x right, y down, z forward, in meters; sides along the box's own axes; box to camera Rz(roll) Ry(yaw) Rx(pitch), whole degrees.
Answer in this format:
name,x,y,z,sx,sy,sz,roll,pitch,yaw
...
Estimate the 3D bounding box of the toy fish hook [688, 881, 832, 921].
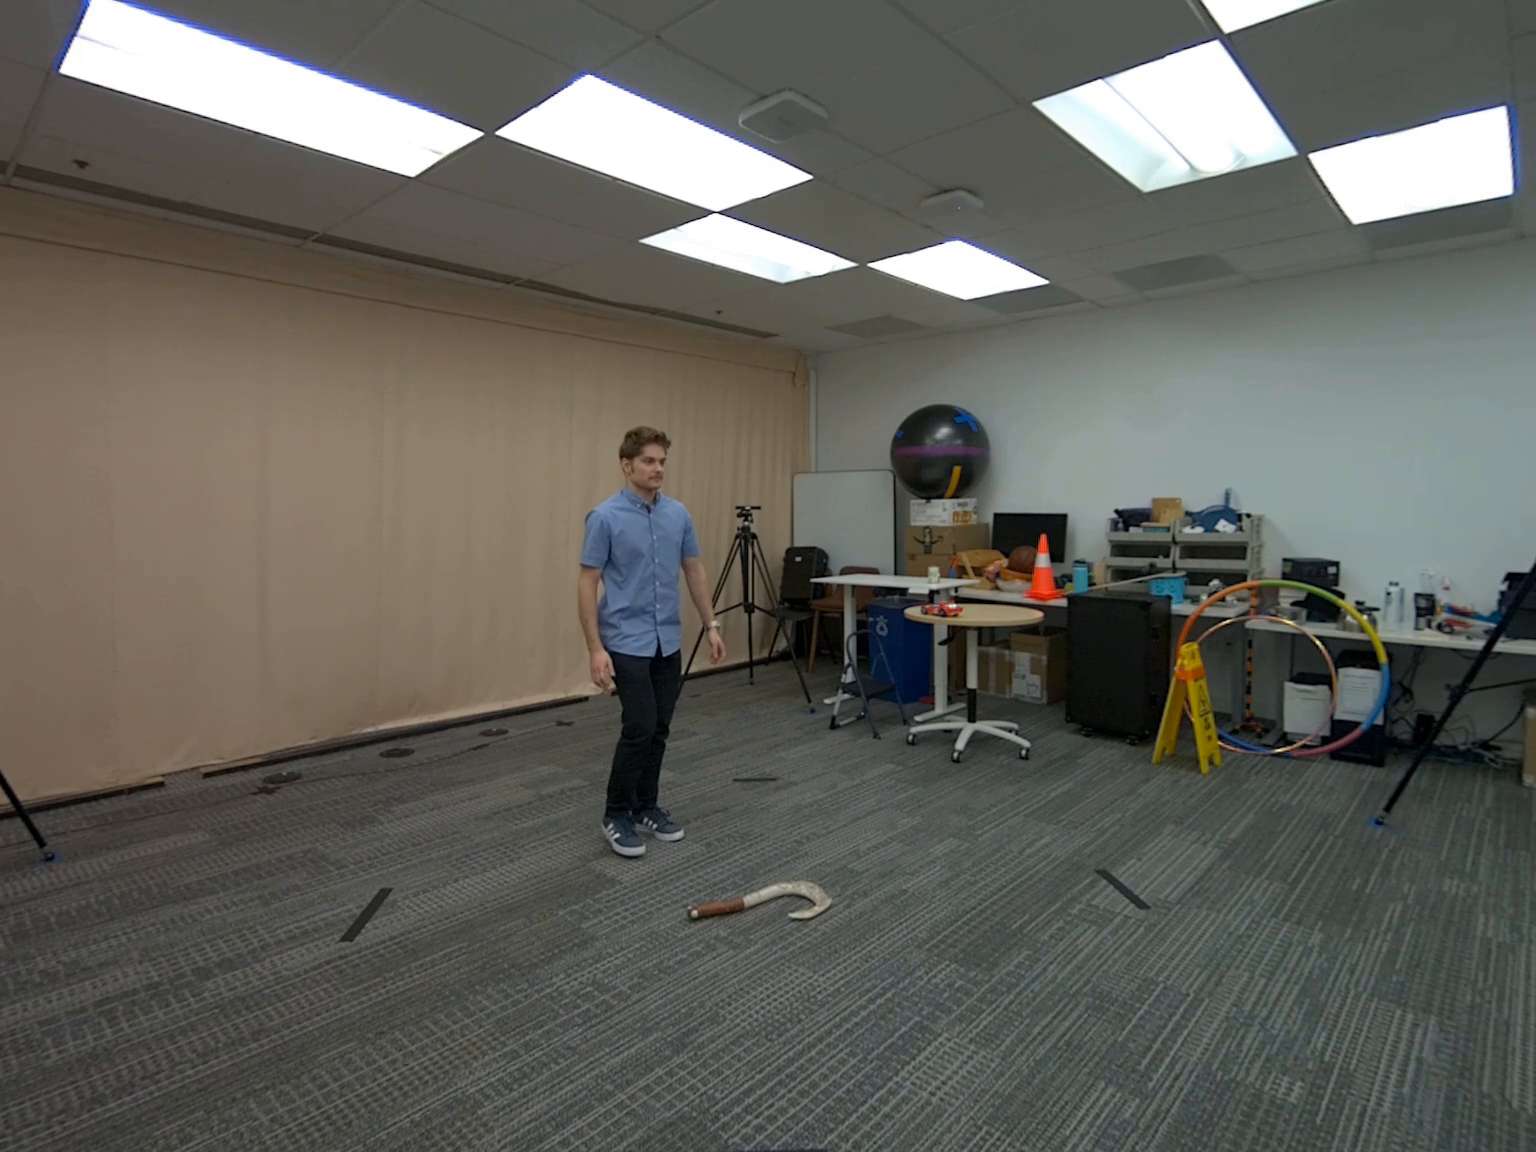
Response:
name,x,y,z,sx,sy,sz,roll,pitch,yaw
toy fish hook,-0.019,1.131,2.879,0.495,0.048,0.230,-2,4,-24
